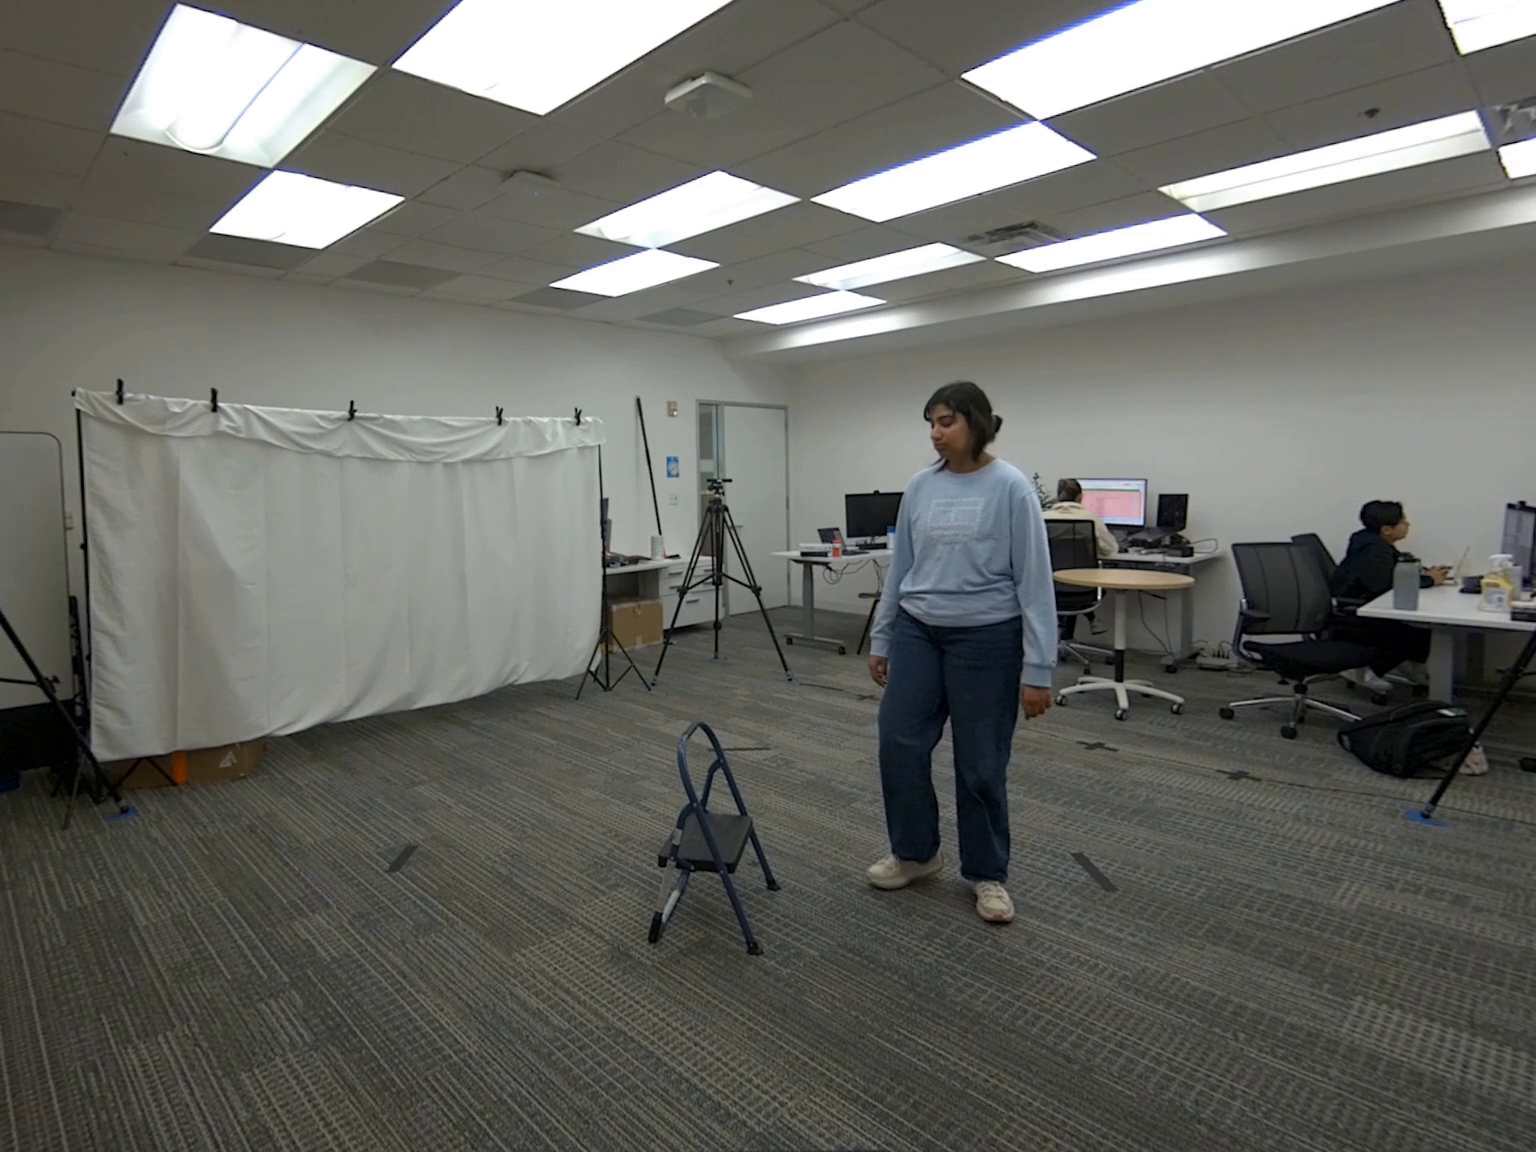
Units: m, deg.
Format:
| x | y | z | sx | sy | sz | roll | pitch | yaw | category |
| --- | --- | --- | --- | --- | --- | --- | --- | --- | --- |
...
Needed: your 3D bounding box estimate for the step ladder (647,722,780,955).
| x | y | z | sx | sy | sz | roll | pitch | yaw | category |
| --- | --- | --- | --- | --- | --- | --- | --- | --- | --- |
| -0.165 | 0.788 | 2.728 | 0.353 | 0.603 | 0.428 | 0 | 5 | 10 | step ladder |
